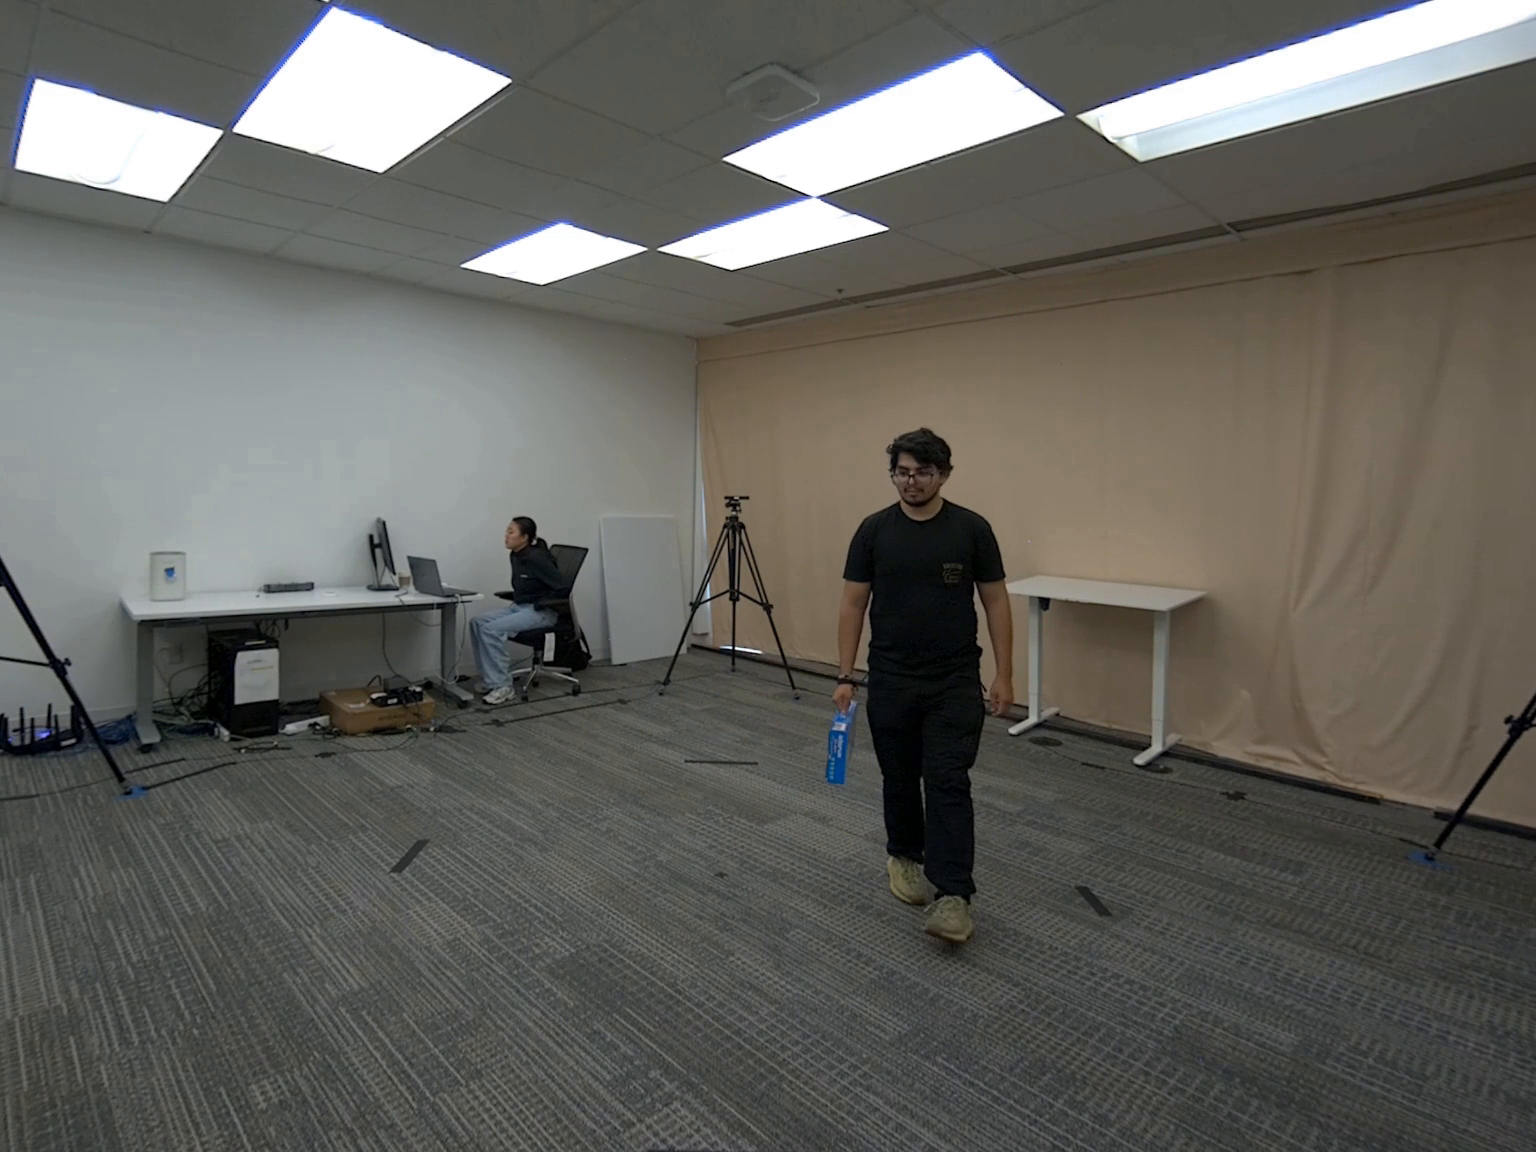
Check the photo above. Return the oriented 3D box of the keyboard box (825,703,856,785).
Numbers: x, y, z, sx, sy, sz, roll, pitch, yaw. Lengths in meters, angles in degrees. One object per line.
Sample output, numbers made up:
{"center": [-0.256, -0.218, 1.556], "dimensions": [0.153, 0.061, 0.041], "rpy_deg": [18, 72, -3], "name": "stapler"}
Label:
{"center": [0.253, 0.557, 2.893], "dimensions": [0.060, 0.175, 0.434], "rpy_deg": [4, 5, 10], "name": "keyboard box"}
